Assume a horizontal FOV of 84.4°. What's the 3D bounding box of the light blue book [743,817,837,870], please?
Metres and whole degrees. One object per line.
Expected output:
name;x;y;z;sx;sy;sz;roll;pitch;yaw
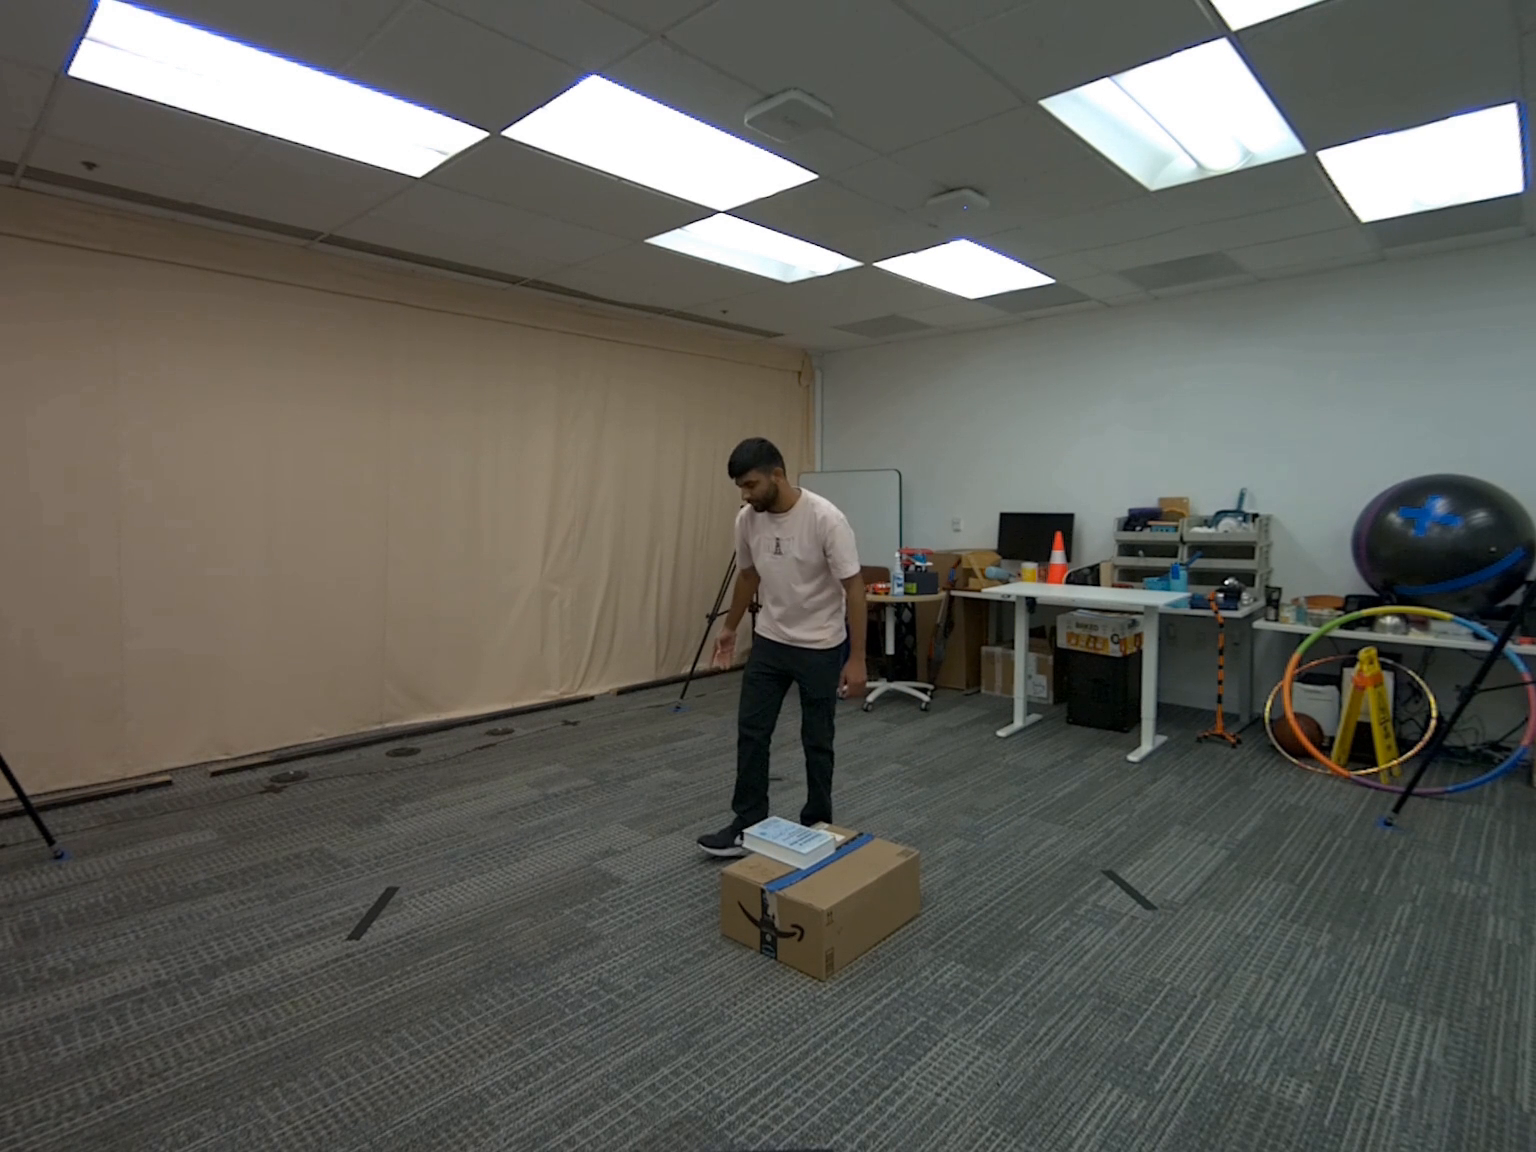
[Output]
light blue book;0.066;0.905;2.893;0.269;0.059;0.186;4;6;35
